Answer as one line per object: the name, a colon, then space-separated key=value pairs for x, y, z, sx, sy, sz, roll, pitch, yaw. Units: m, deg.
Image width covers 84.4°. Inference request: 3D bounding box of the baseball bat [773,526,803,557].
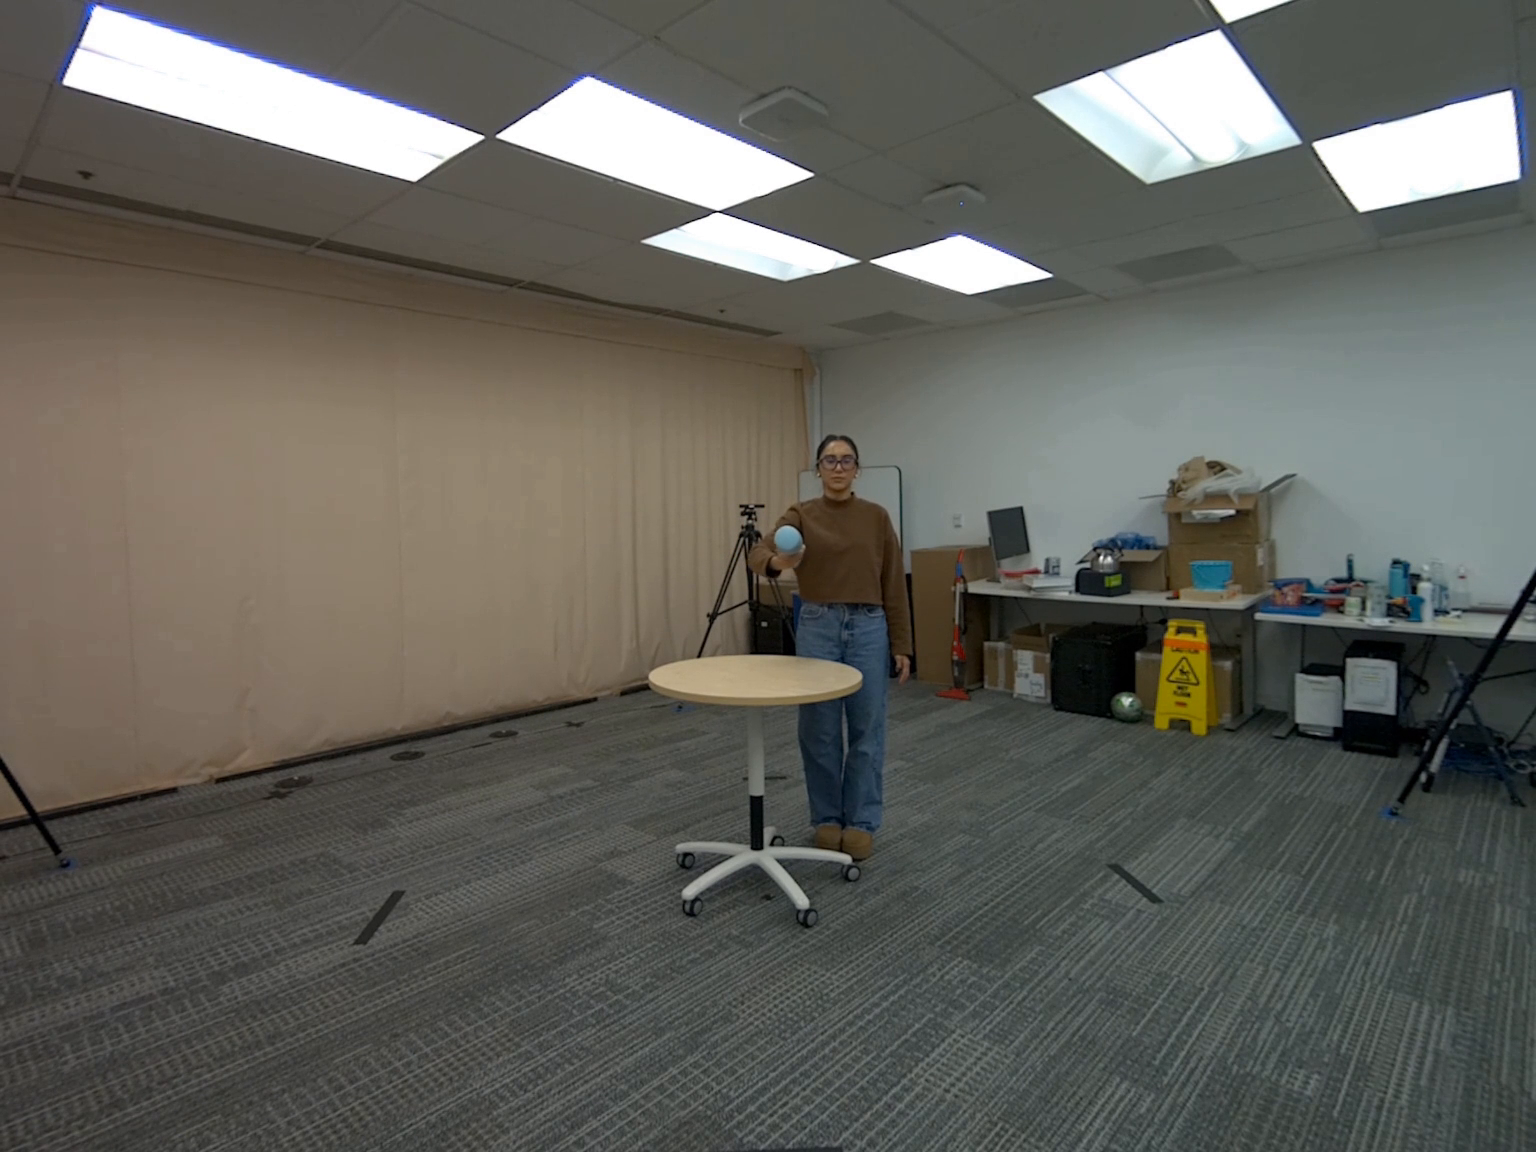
baseball bat: x=0.073 y=-0.100 z=3.030 sx=0.089 sy=0.089 sz=0.541 roll=-1 pitch=-5 yaw=-2
